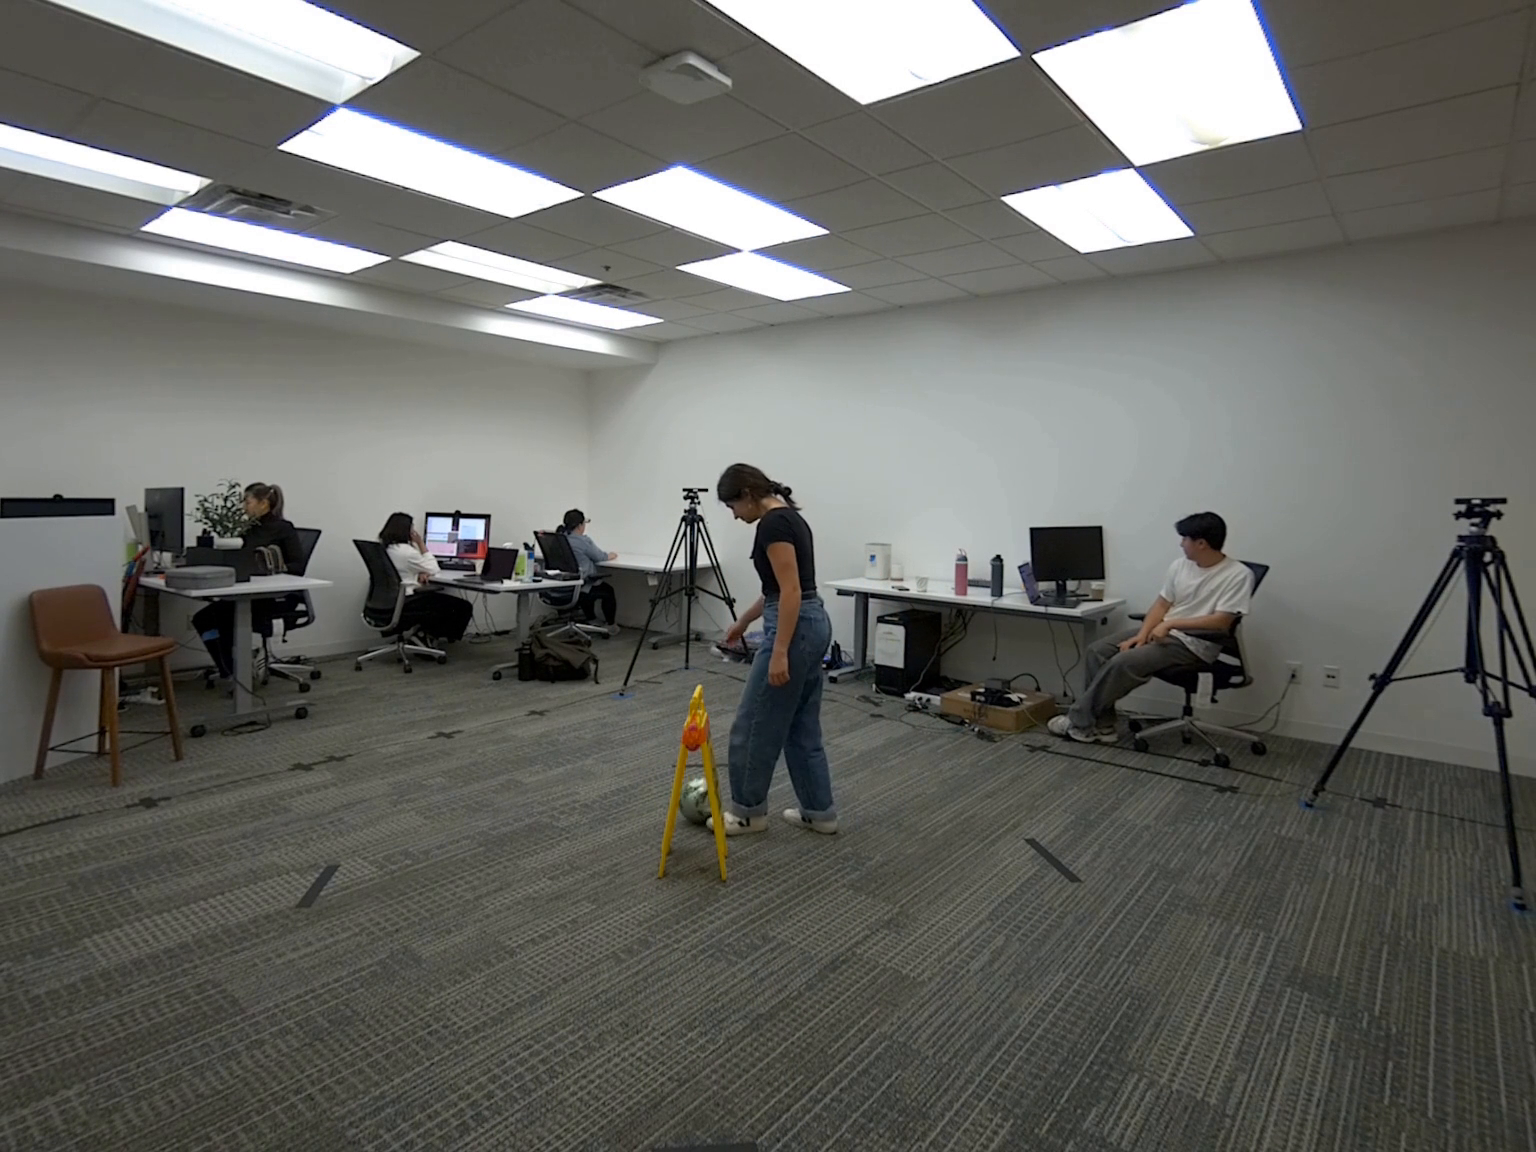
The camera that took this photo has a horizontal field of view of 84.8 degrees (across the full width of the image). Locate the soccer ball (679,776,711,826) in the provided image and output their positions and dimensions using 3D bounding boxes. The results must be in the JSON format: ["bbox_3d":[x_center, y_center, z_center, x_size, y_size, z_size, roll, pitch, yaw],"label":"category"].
[{"bbox_3d":[-0.283,0.937,3.575,0.187,0.187,0.188,1,4,-2],"label":"soccer ball"}]
